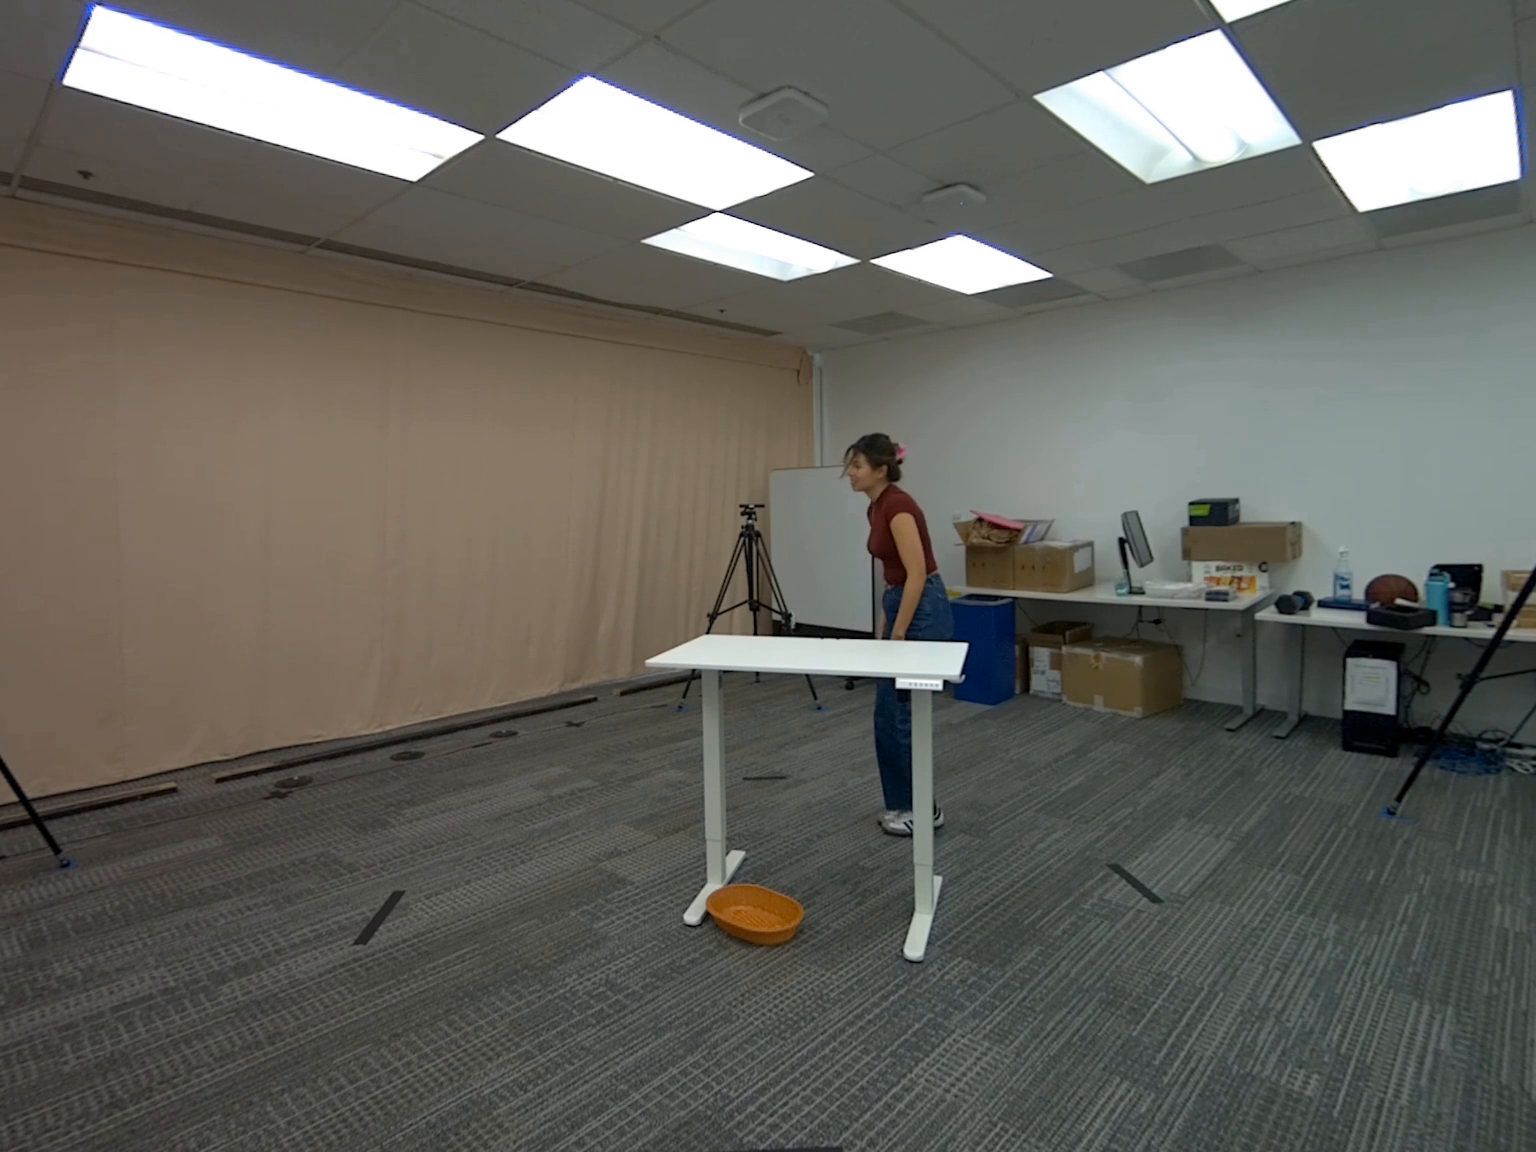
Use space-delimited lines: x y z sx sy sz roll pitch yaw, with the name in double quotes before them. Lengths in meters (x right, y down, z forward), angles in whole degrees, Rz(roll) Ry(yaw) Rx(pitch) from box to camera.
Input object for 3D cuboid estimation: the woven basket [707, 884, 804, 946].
"woven basket" -0.036 1.116 2.779 0.362 0.073 0.245 3 7 42
